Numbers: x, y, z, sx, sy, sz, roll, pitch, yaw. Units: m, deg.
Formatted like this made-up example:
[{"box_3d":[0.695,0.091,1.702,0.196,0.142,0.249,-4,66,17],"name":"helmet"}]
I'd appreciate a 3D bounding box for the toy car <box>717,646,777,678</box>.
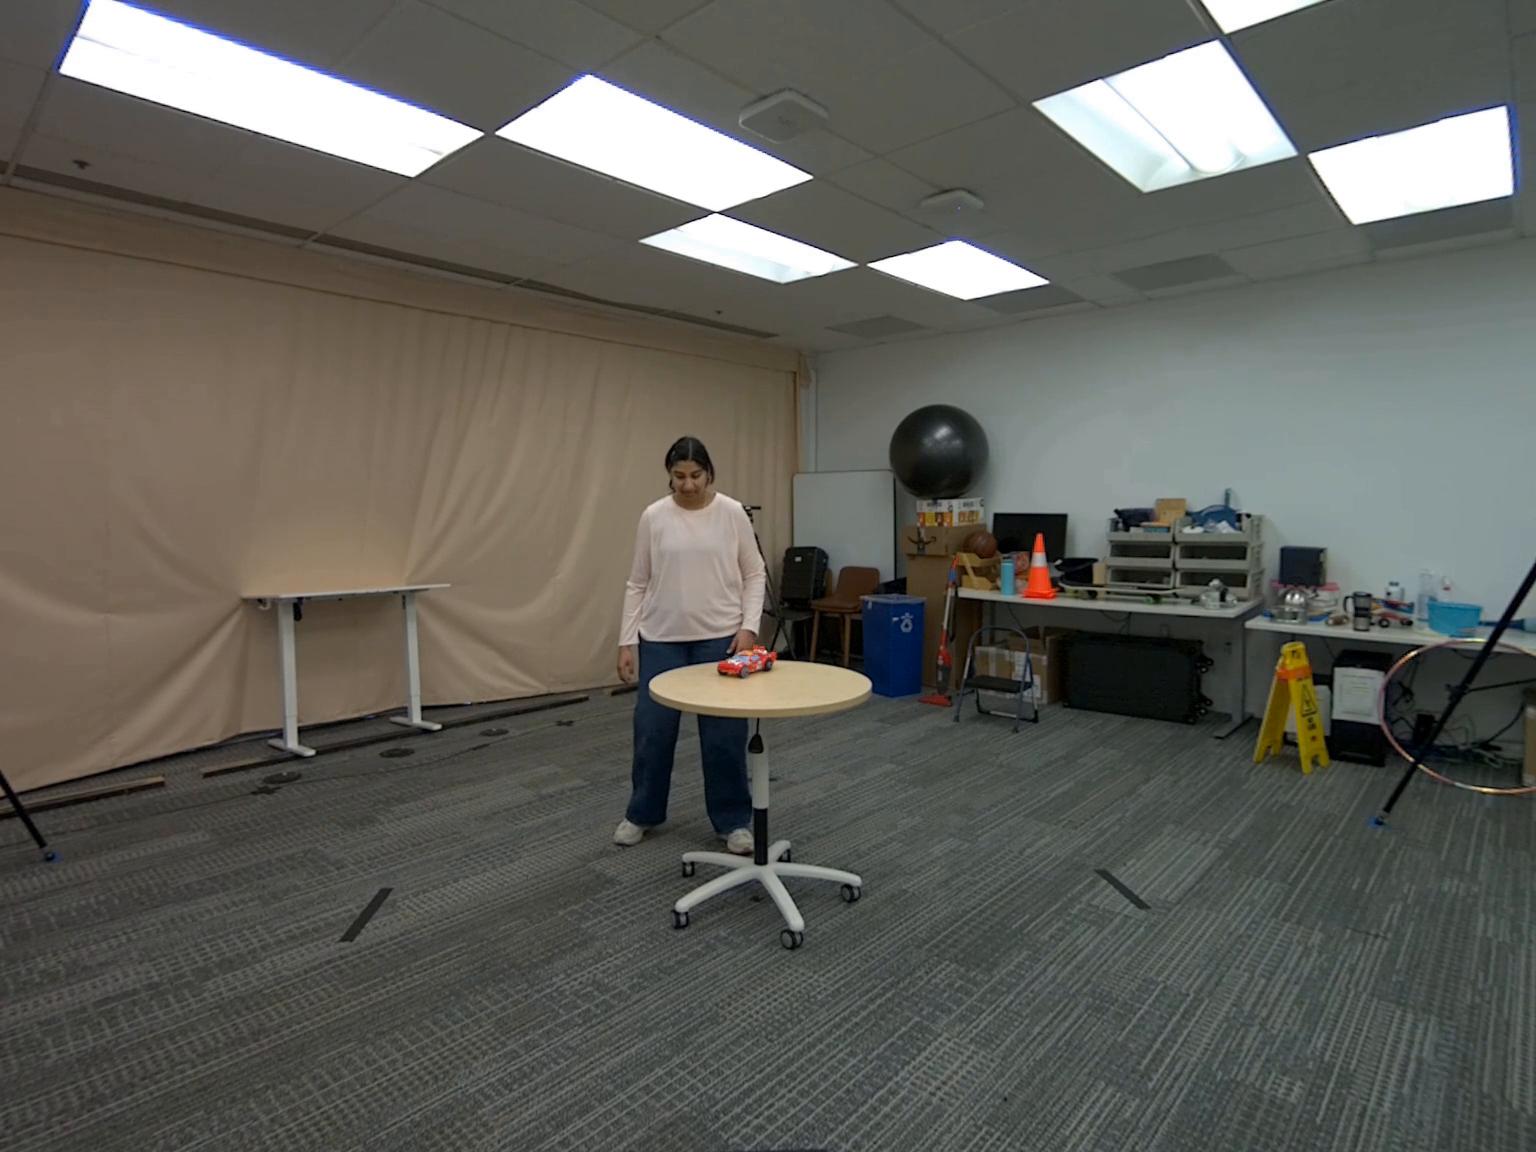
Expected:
[{"box_3d":[-0.064,0.319,3.080,0.134,0.082,0.249,3,18,38],"name":"toy car"}]
